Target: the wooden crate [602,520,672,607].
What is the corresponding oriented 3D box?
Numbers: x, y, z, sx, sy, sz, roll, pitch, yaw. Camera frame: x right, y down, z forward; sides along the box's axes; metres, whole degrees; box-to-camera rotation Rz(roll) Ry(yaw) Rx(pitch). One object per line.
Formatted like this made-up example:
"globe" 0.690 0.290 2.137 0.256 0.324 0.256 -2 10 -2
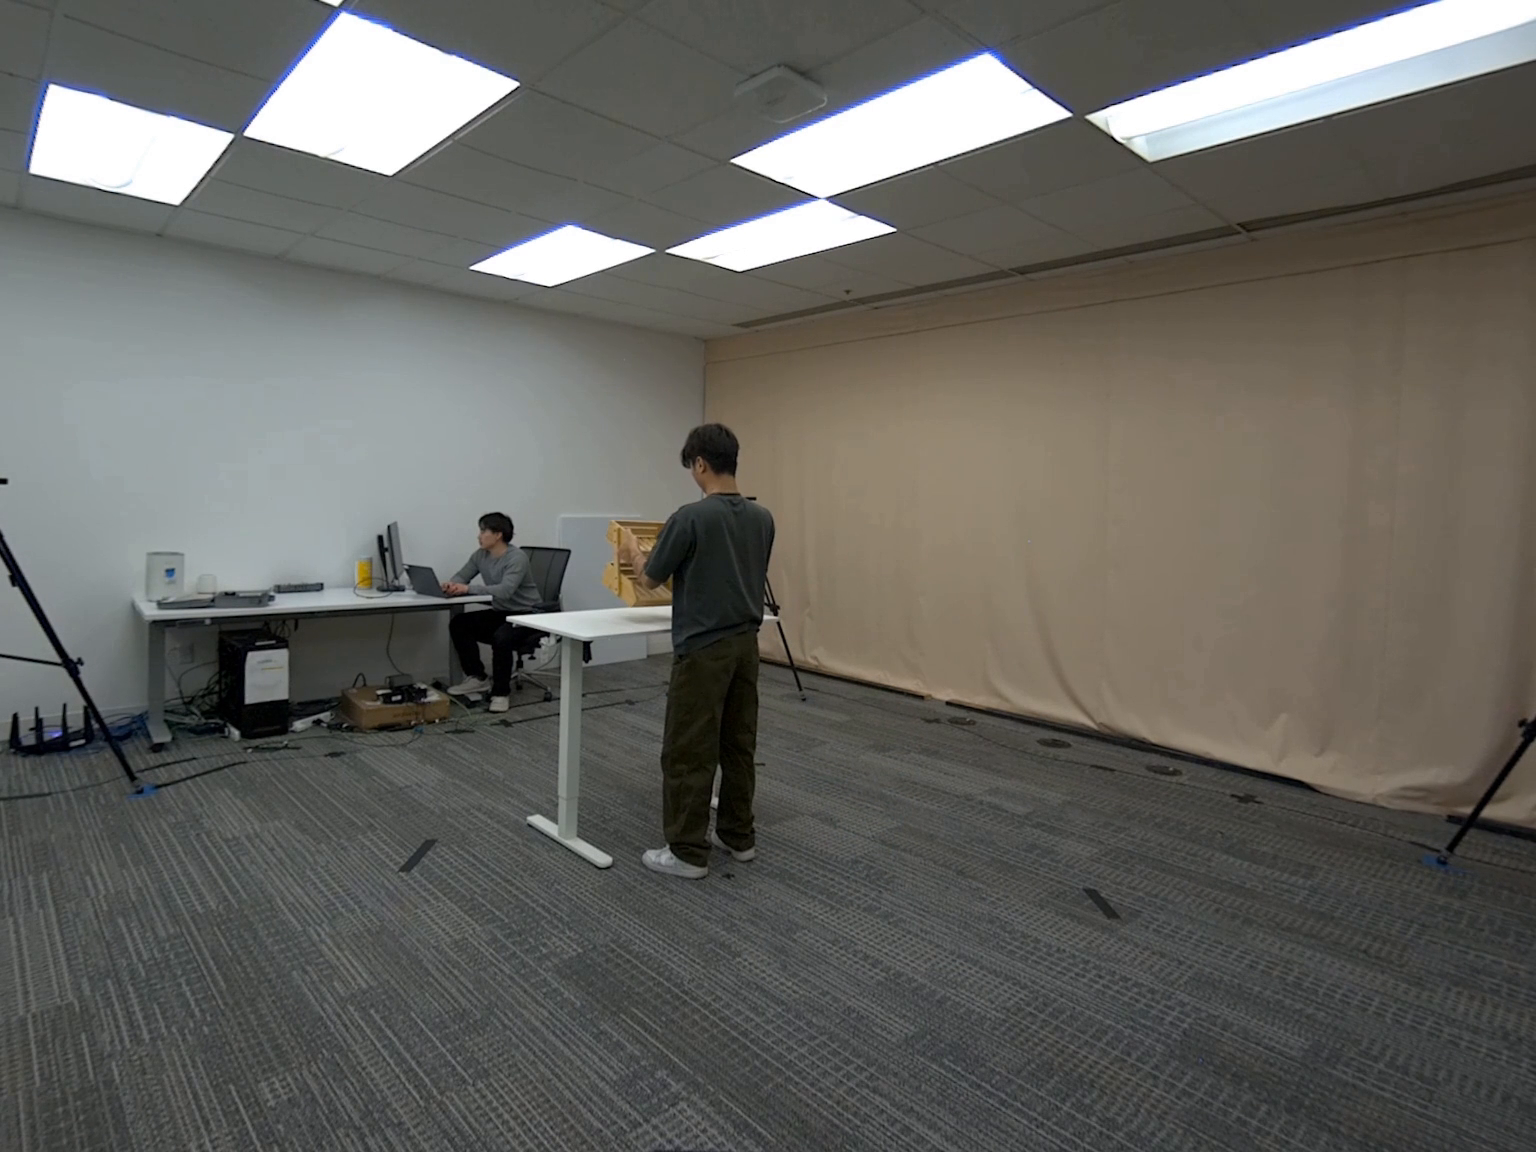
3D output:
"wooden crate" -0.482 -0.054 3.487 0.317 0.271 0.312 0 25 -45
